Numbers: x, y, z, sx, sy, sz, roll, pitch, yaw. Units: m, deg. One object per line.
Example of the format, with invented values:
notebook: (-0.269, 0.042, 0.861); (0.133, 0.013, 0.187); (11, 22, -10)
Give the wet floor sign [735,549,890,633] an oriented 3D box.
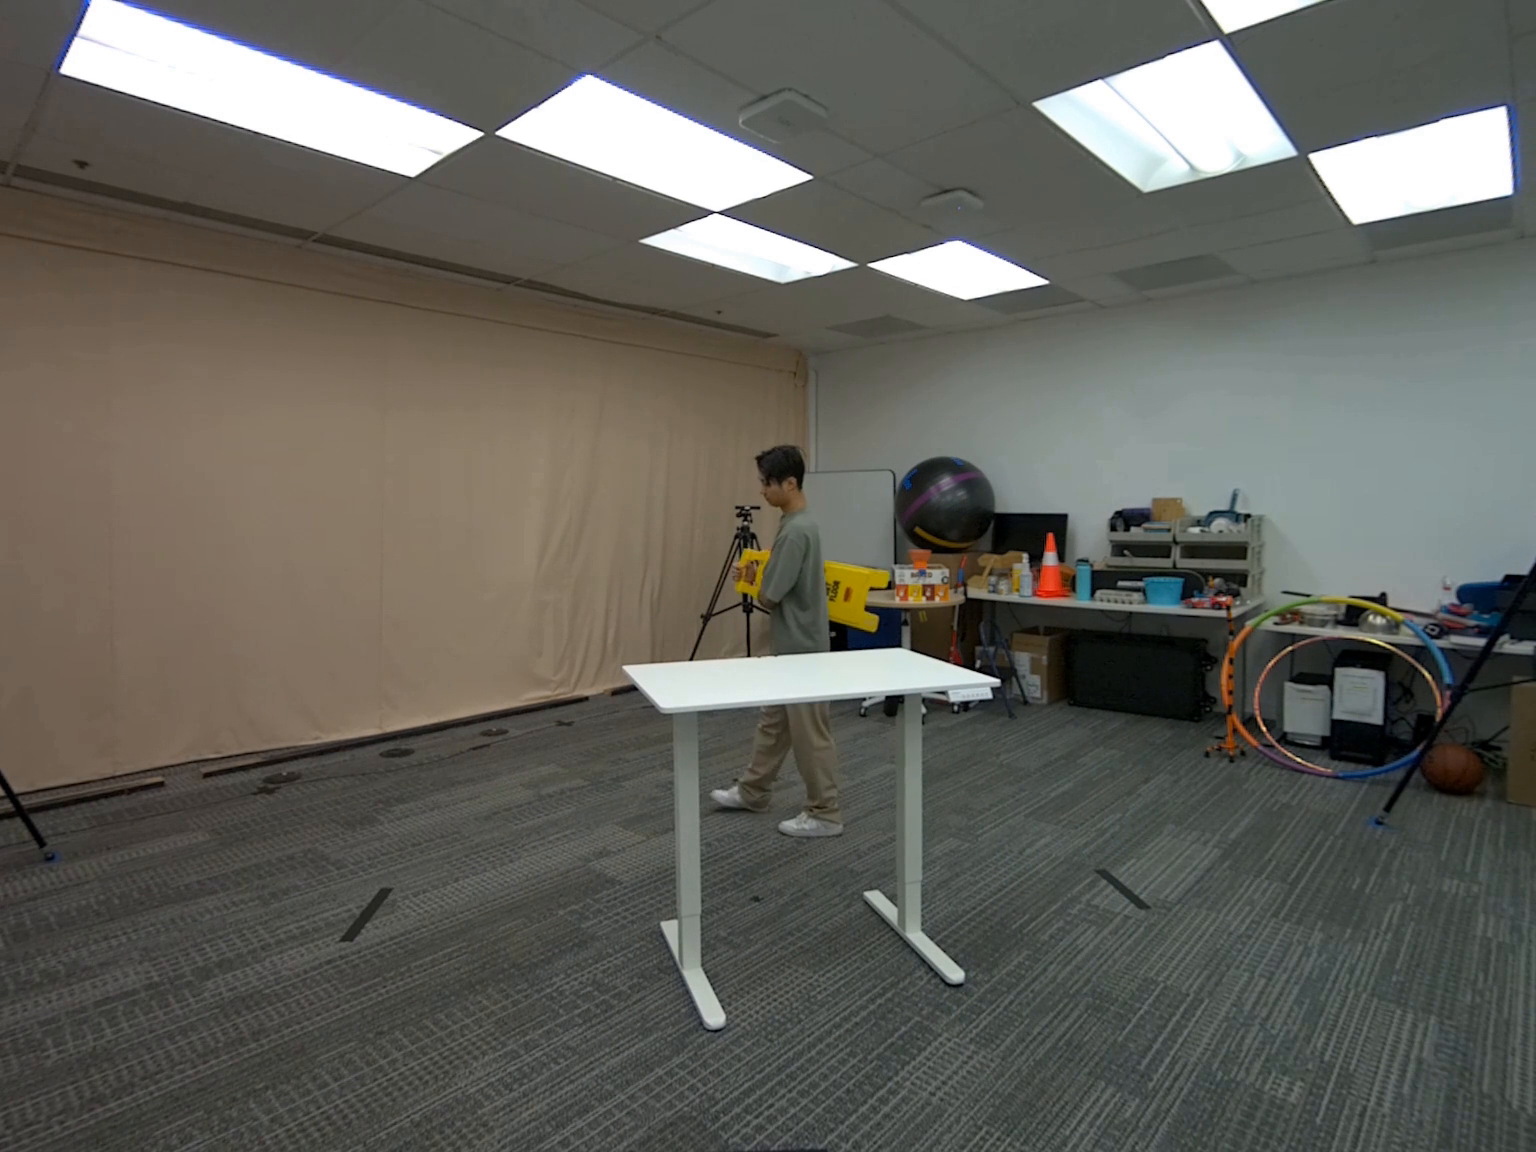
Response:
wet floor sign: (0.184, 0.044, 3.826); (0.645, 0.282, 0.290); (12, 4, -1)
